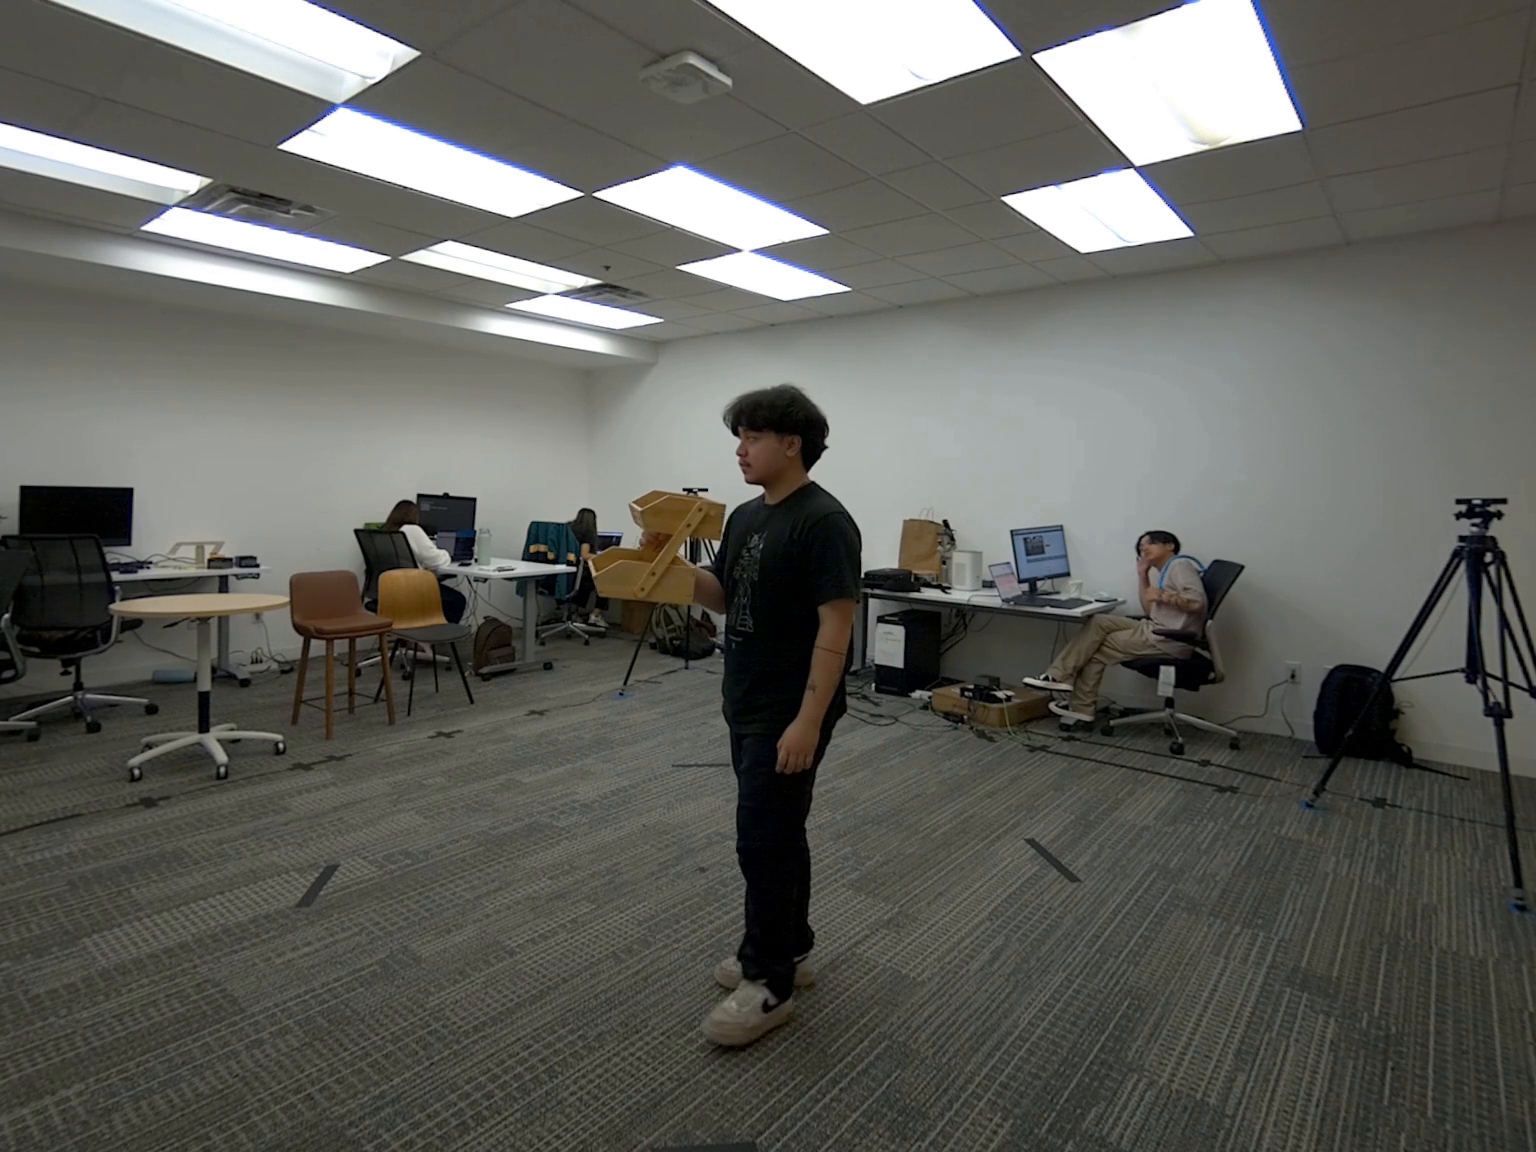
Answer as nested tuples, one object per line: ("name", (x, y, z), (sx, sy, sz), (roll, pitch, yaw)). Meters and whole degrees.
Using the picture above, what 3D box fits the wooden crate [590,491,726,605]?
("wooden crate", (-0.311, -0.098, 2.209), (0.298, 0.273, 0.330), (8, 4, -13))
